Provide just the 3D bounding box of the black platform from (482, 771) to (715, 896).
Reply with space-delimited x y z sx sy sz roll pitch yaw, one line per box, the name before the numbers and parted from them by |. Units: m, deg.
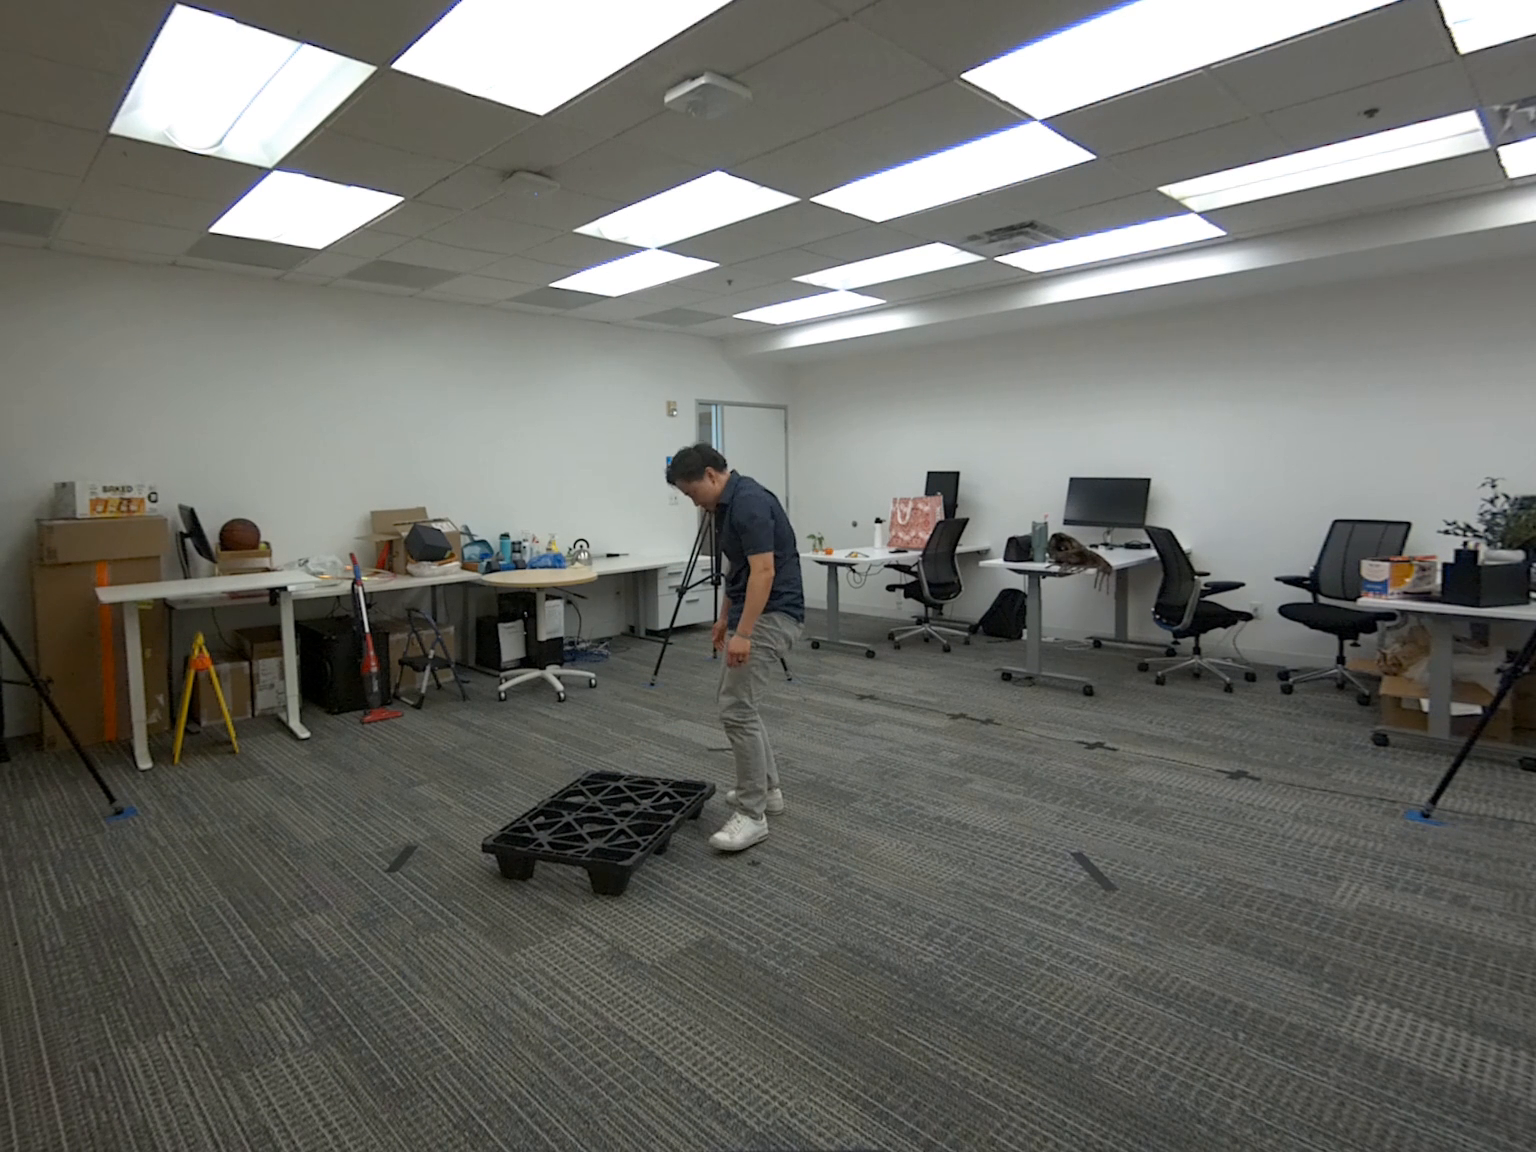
black platform | -0.607 0.966 3.290 0.617 0.142 0.794 1 7 19
